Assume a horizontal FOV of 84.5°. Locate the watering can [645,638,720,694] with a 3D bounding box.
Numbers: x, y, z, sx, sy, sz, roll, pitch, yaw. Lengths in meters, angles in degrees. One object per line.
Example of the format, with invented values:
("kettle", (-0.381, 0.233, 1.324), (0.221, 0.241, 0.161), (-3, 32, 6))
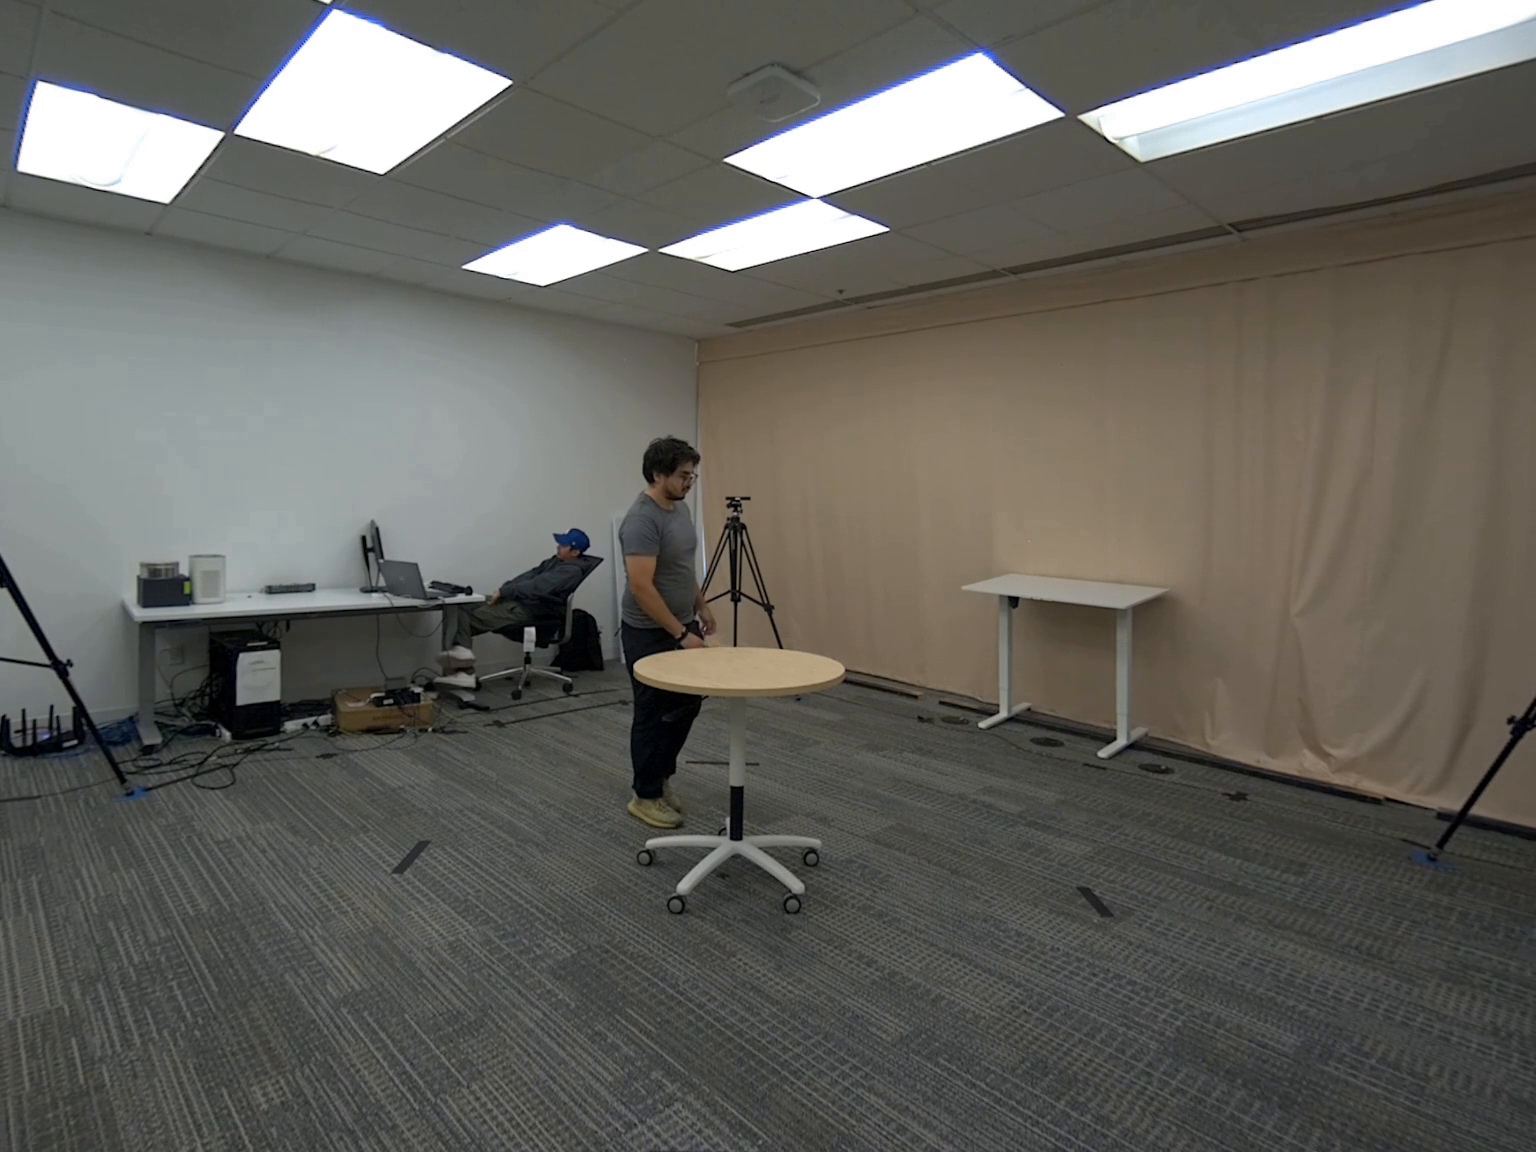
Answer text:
("watering can", (-0.356, 0.379, 3.488), (0.273, 0.174, 0.101), (-11, 33, -35))
